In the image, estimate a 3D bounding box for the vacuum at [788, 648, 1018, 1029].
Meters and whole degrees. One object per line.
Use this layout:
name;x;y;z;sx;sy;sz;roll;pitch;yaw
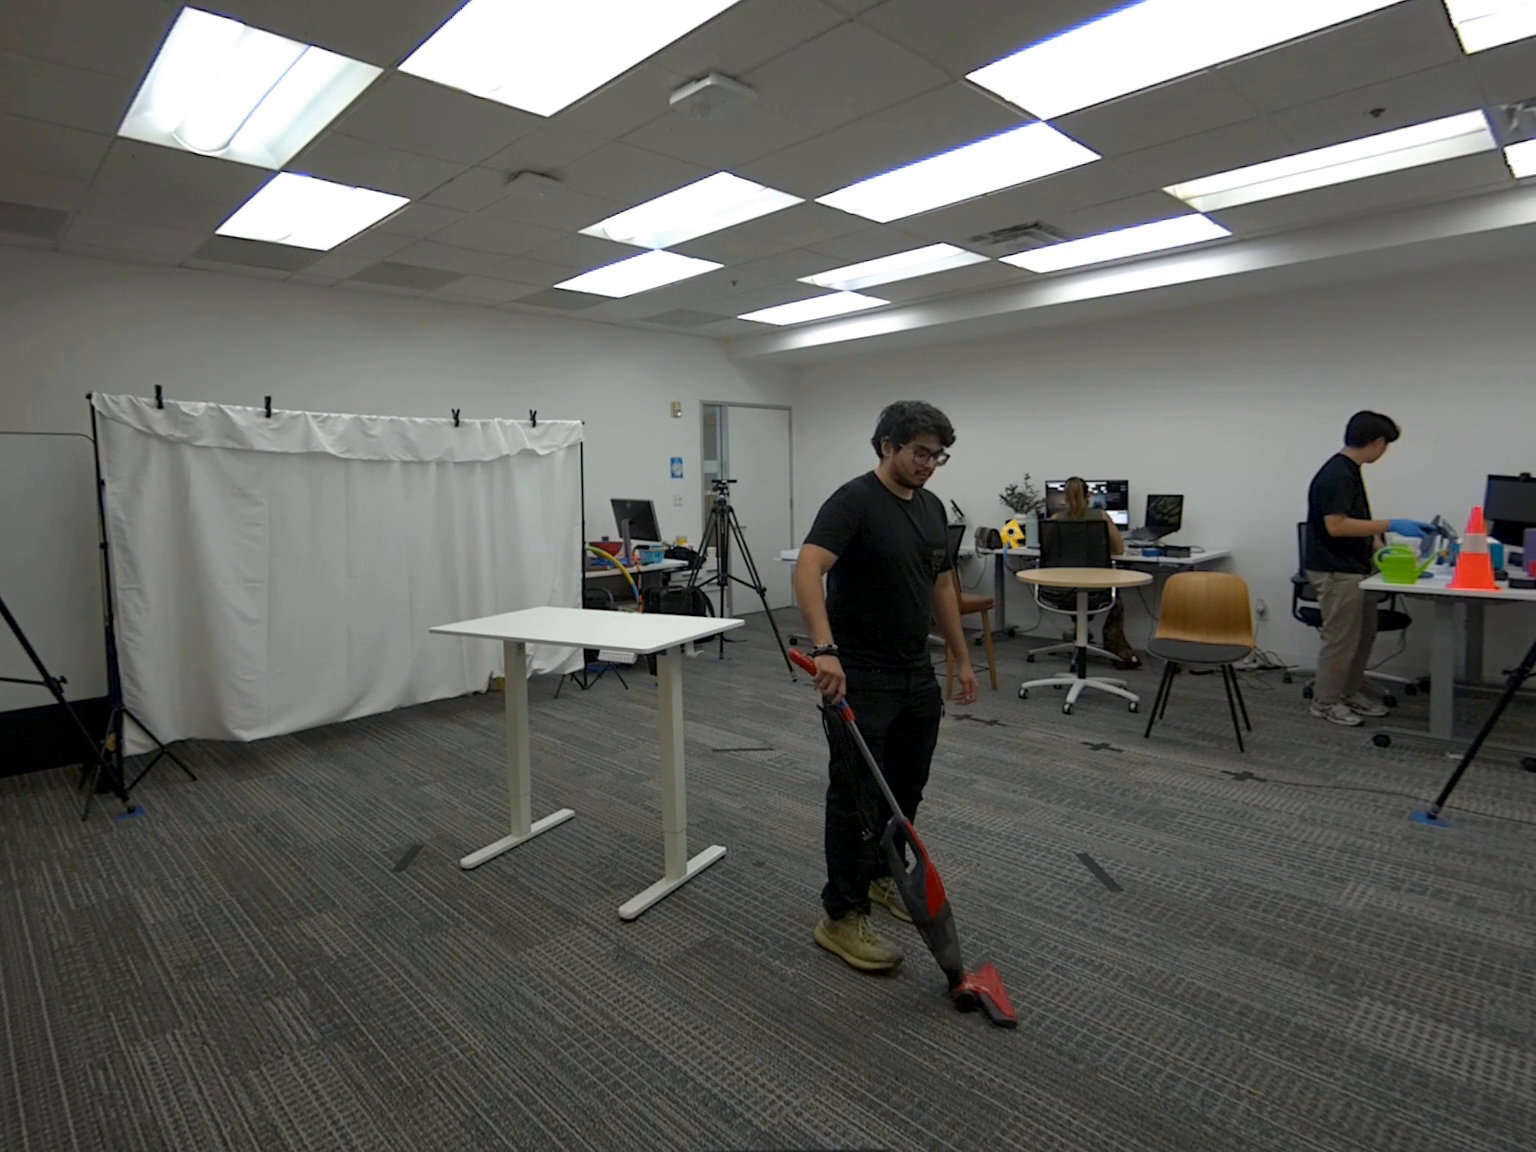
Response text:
vacuum;0.331;0.670;2.267;0.144;1.048;0.252;-28;1;4
